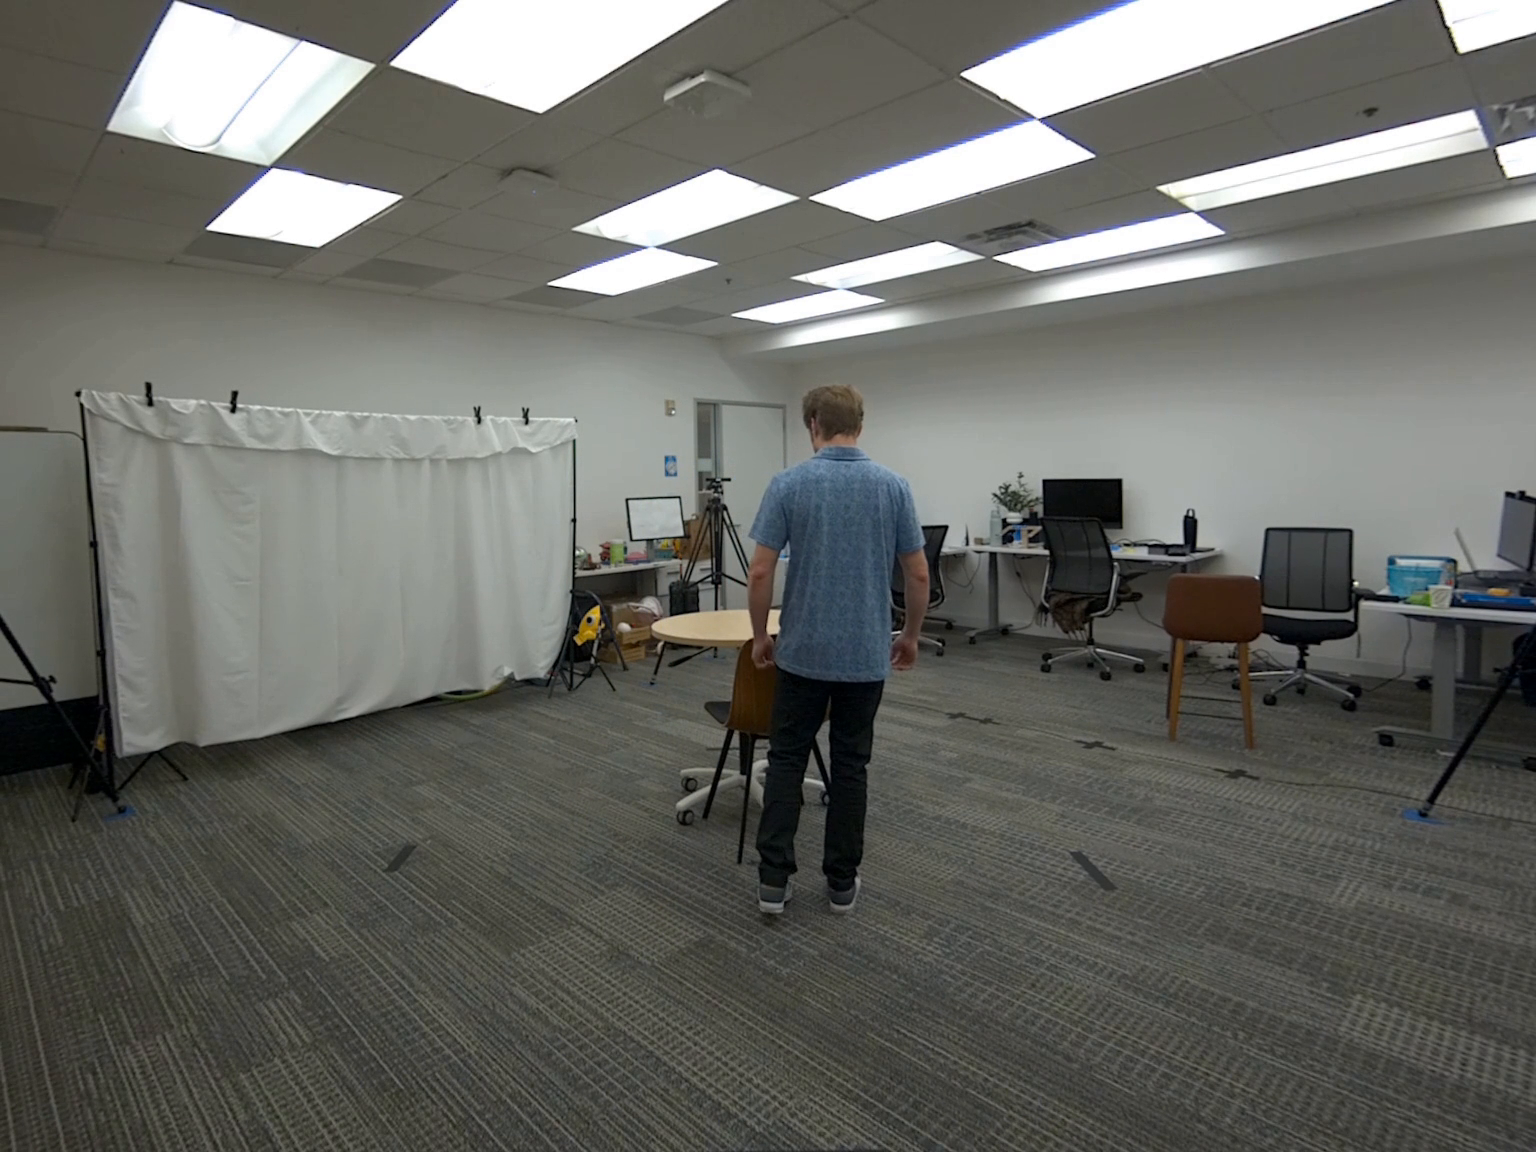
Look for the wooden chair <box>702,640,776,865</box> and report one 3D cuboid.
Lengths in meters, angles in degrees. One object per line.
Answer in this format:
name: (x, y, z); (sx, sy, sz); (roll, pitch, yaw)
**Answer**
wooden chair: (0.015, 0.584, 3.341); (0.470, 0.871, 0.536); (-2, 8, -19)
